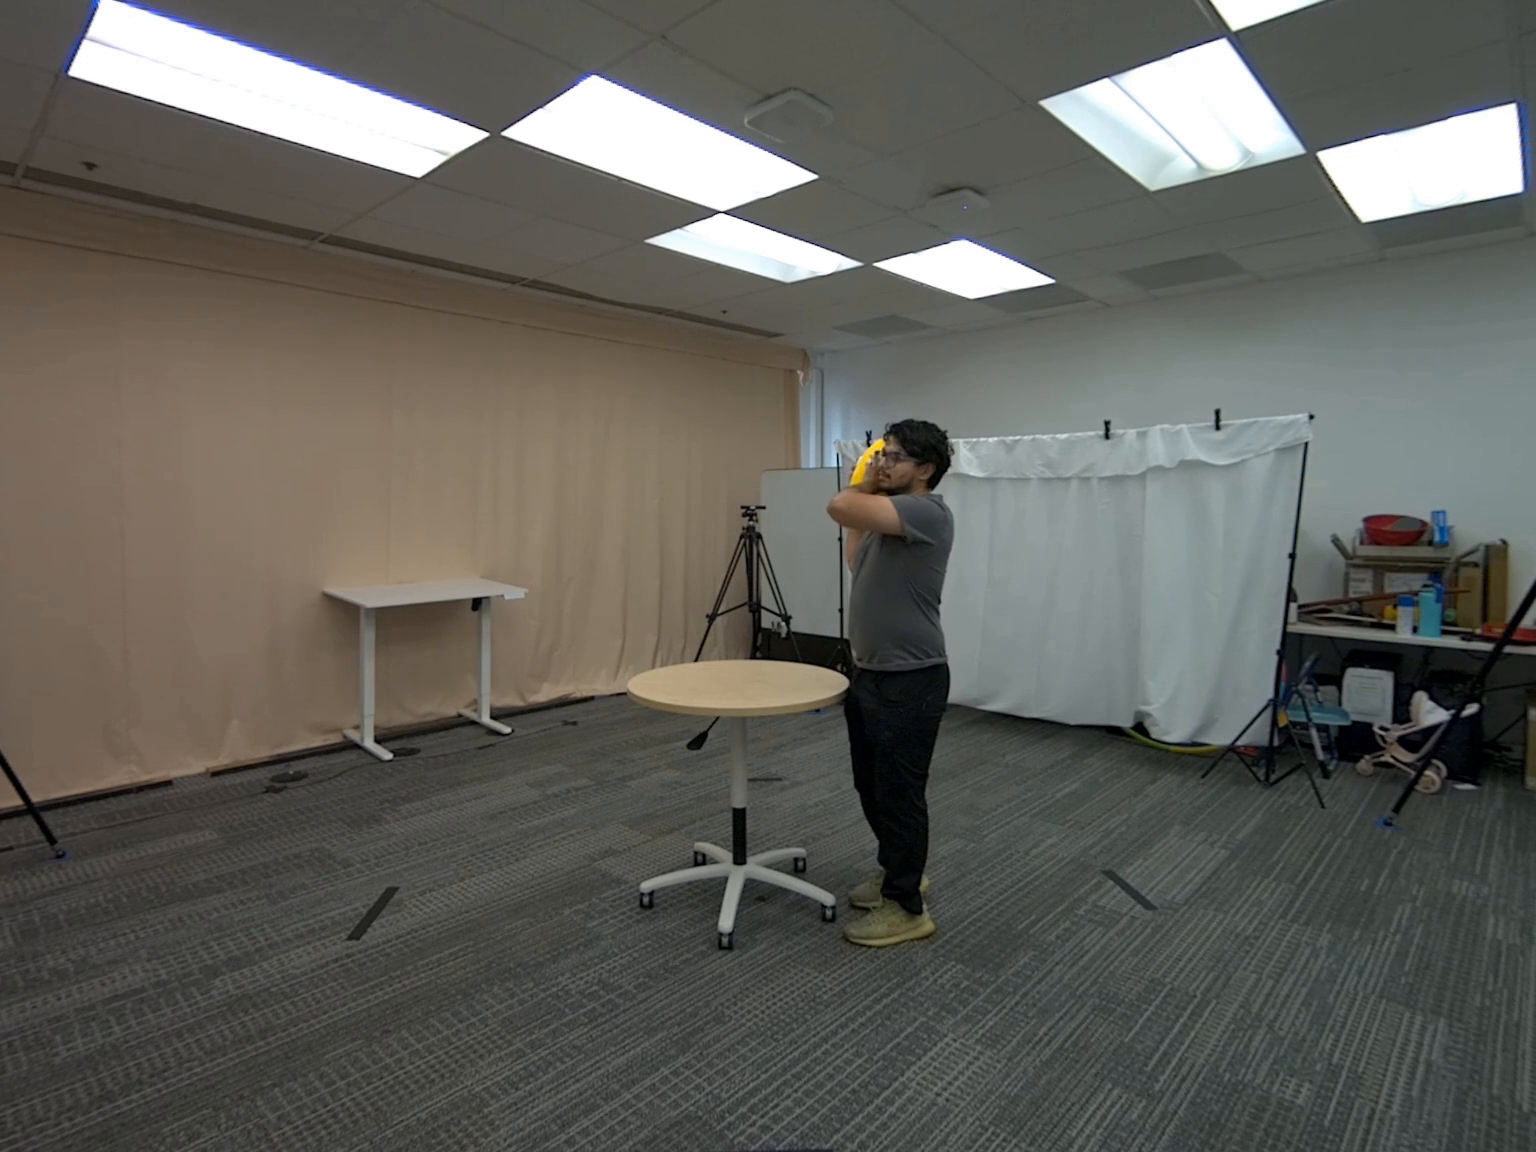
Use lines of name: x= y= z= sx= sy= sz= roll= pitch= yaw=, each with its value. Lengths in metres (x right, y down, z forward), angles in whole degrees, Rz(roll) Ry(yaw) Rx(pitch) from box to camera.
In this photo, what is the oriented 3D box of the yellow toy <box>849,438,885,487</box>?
yellow toy: x=0.369 y=-0.358 z=2.851 sx=0.190 sy=0.229 sz=0.209 roll=-9 pitch=9 yaw=-16
